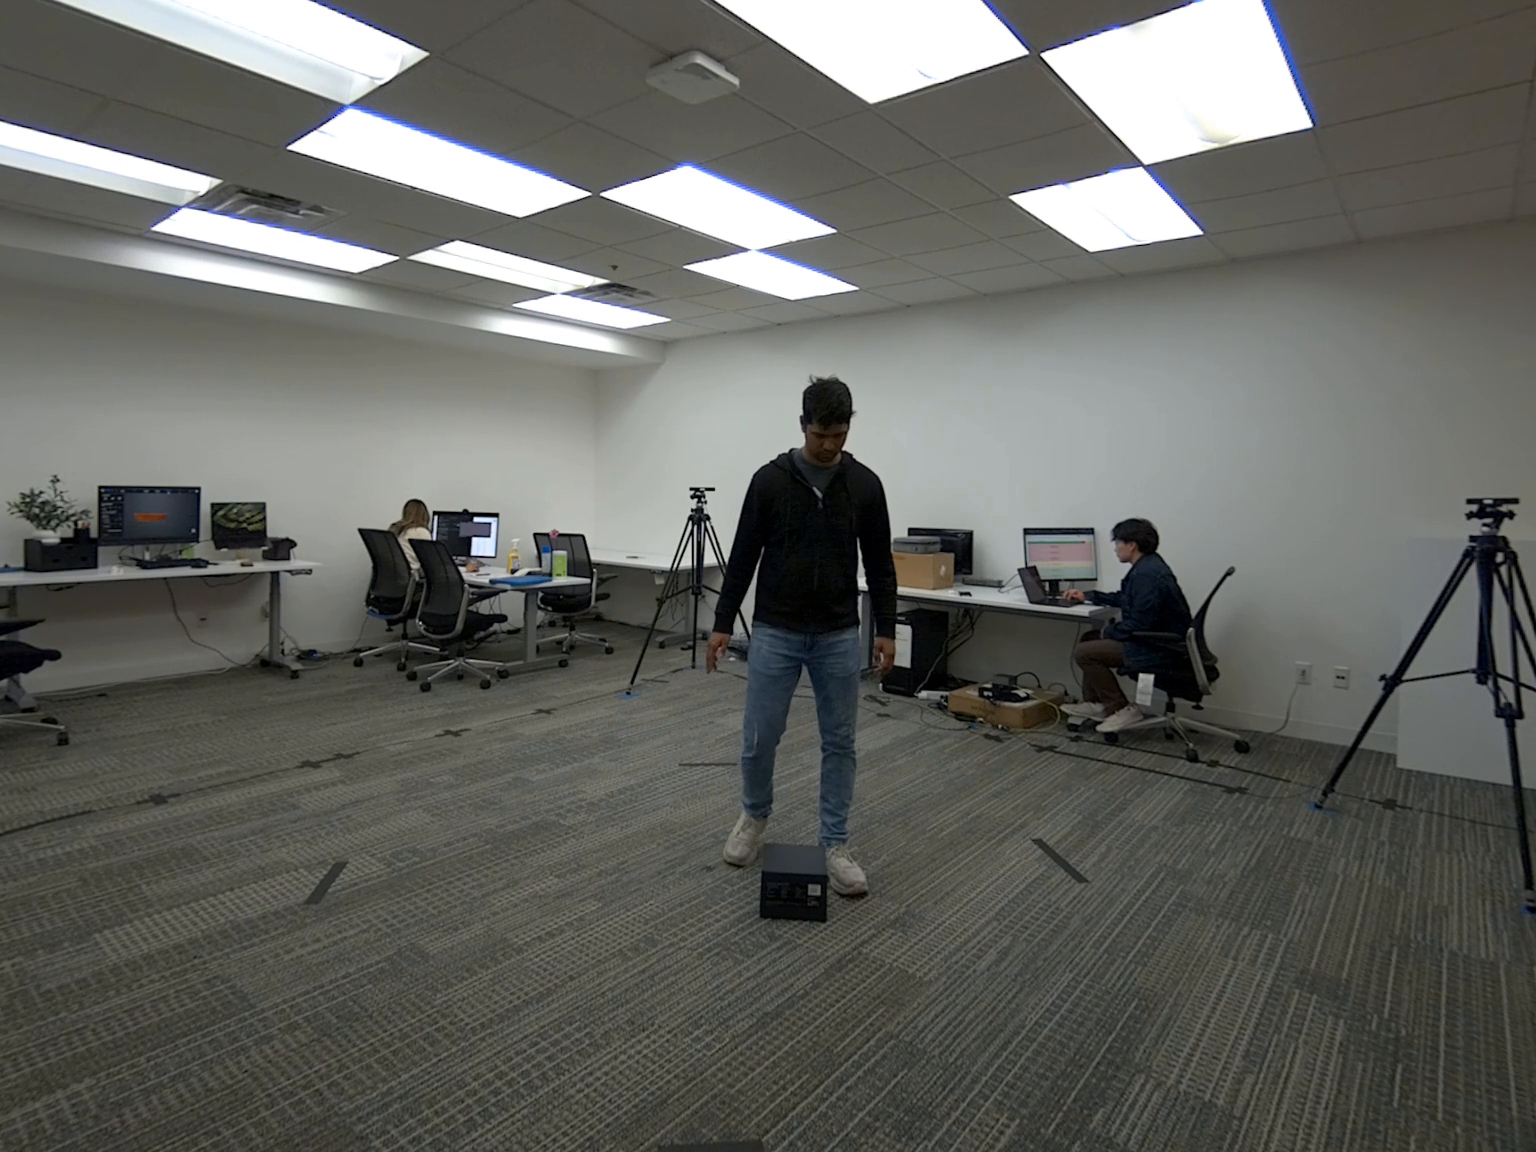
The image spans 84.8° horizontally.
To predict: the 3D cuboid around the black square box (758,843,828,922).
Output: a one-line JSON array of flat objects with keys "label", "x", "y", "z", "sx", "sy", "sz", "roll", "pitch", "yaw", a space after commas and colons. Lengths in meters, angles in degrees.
[{"label": "black square box", "x": 0.080, "y": 1.010, "z": 2.849, "sx": 0.217, "sy": 0.155, "sz": 0.228, "roll": 2, "pitch": 4, "yaw": 1}]
